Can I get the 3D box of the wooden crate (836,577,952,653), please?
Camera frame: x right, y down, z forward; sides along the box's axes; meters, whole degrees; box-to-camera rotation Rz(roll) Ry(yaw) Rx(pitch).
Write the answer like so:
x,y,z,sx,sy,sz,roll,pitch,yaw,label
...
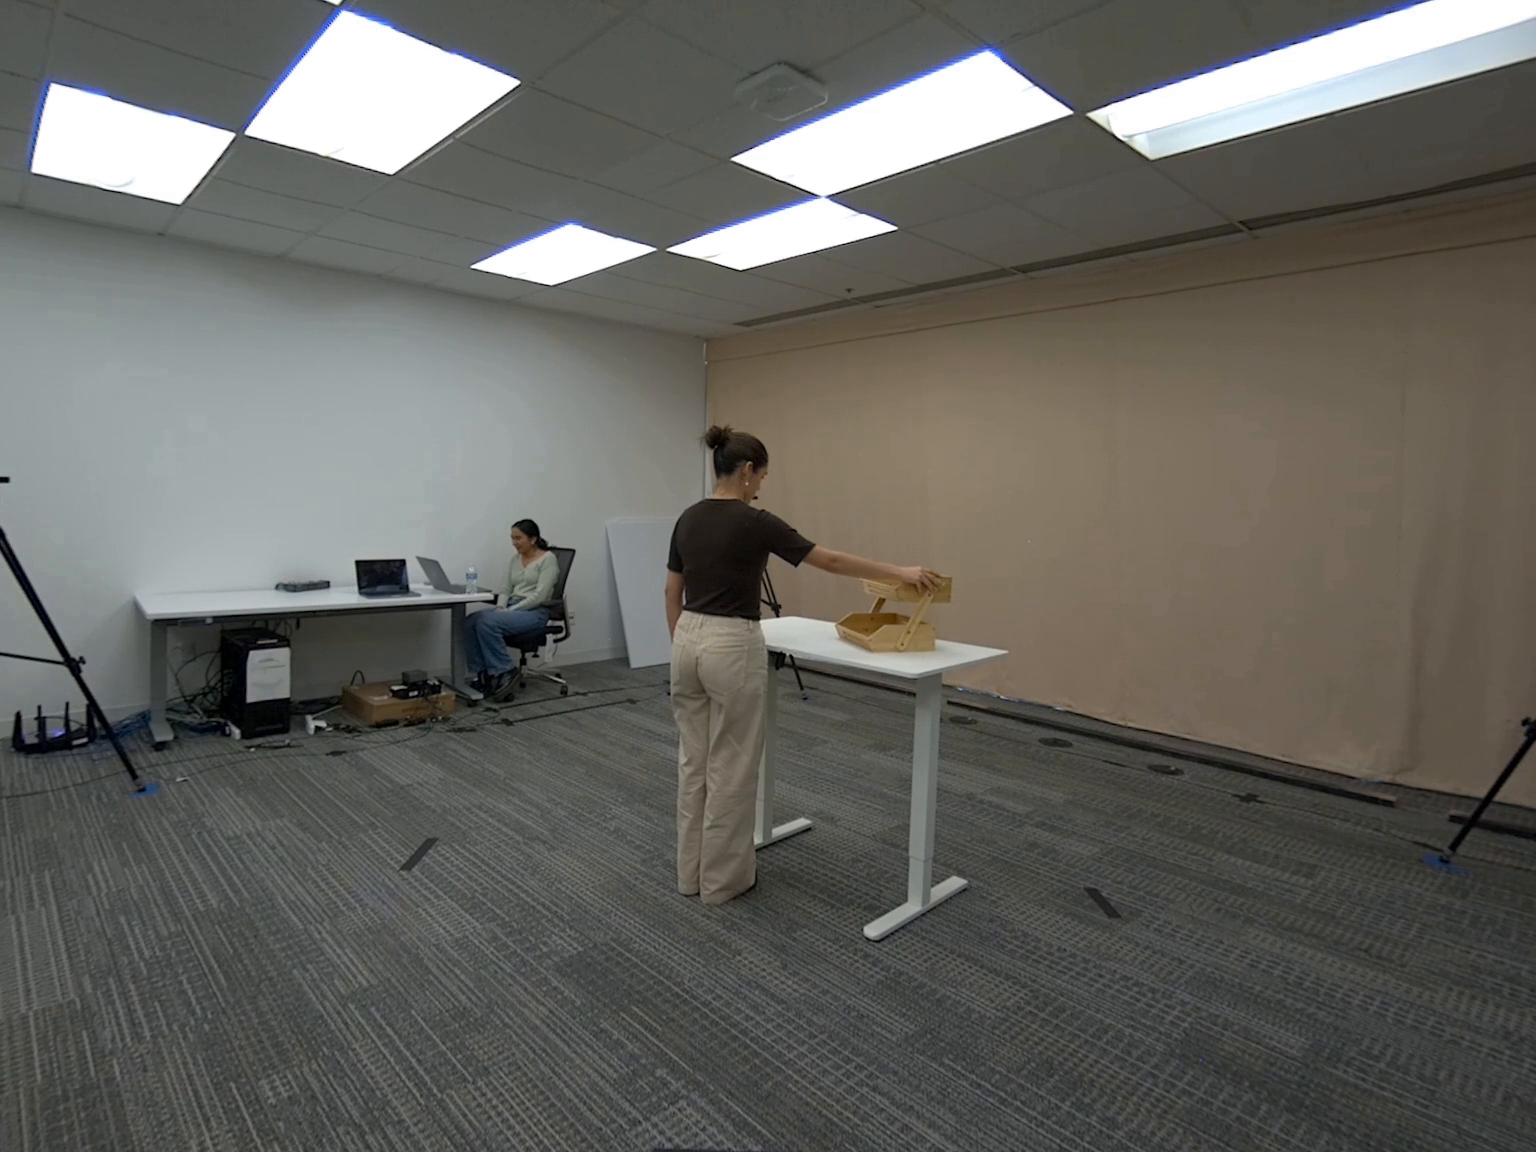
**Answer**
x,y,z,sx,sy,sz,roll,pitch,yaw,label
0.436,0.113,3.006,0.298,0.272,0.329,1,5,-16,wooden crate
